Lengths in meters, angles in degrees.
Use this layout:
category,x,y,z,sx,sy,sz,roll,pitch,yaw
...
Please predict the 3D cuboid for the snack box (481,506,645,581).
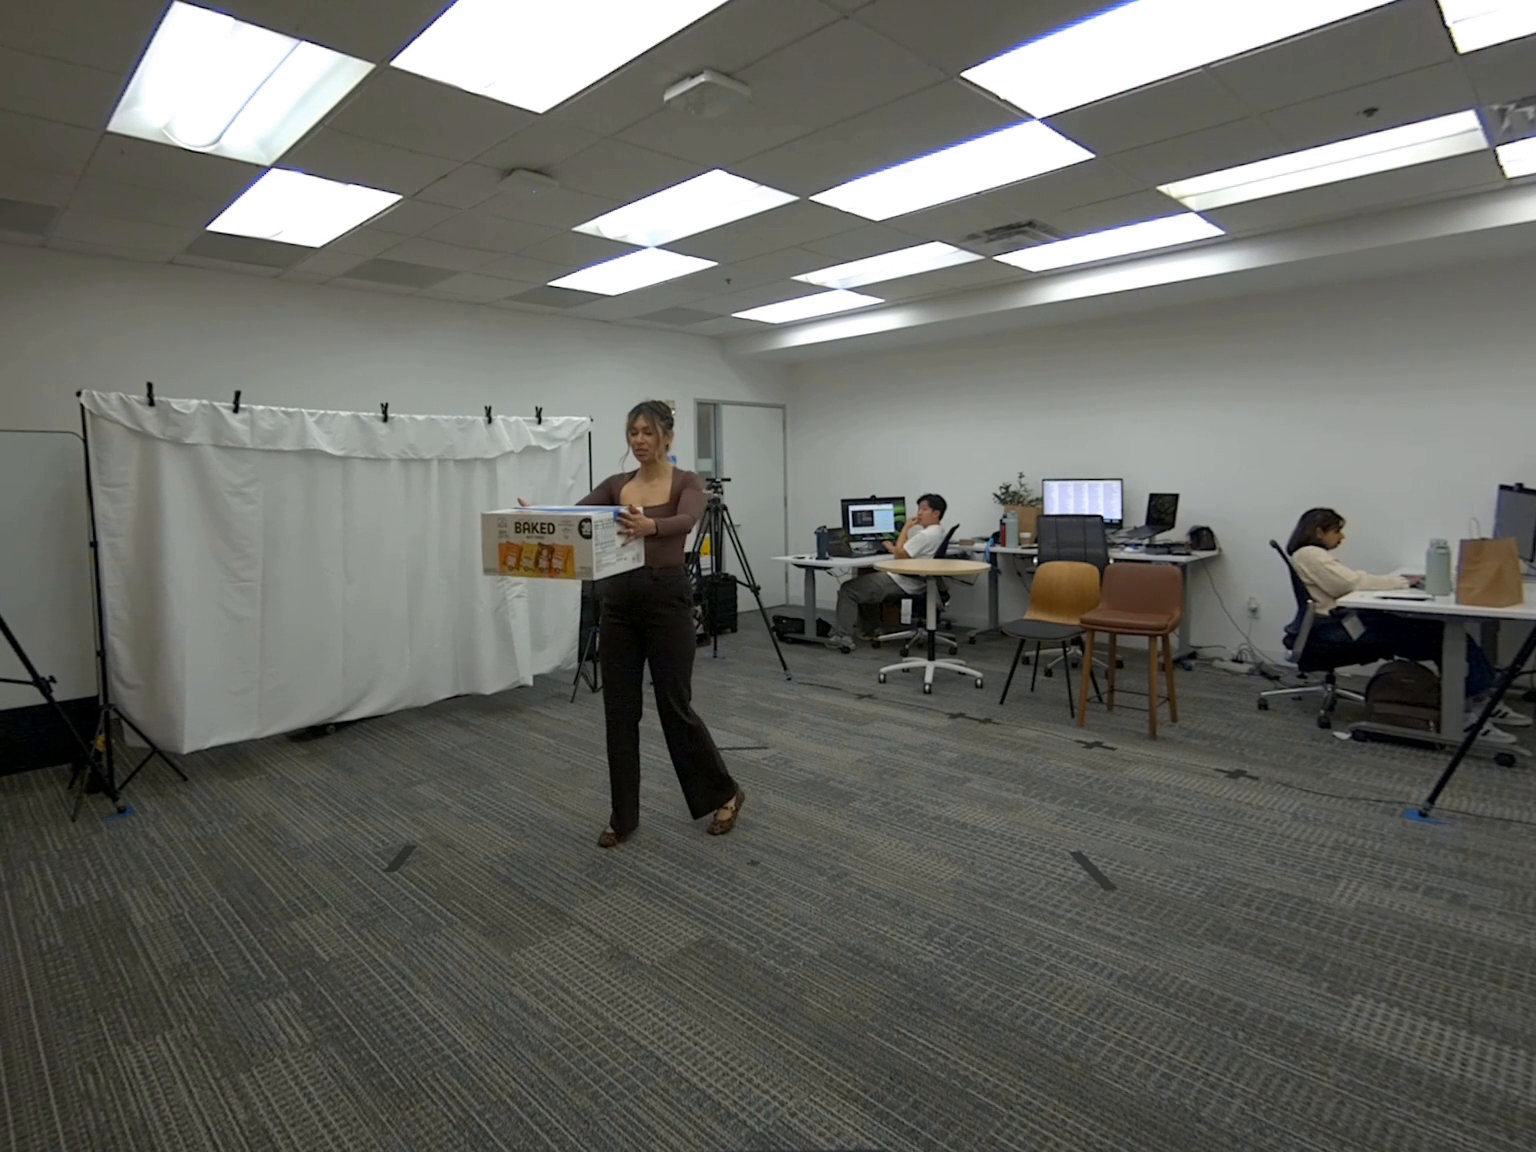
category,x,y,z,sx,sy,sz,roll,pitch,yaw
snack box,-0.662,-0.112,2.797,0.413,0.204,0.336,2,9,21
